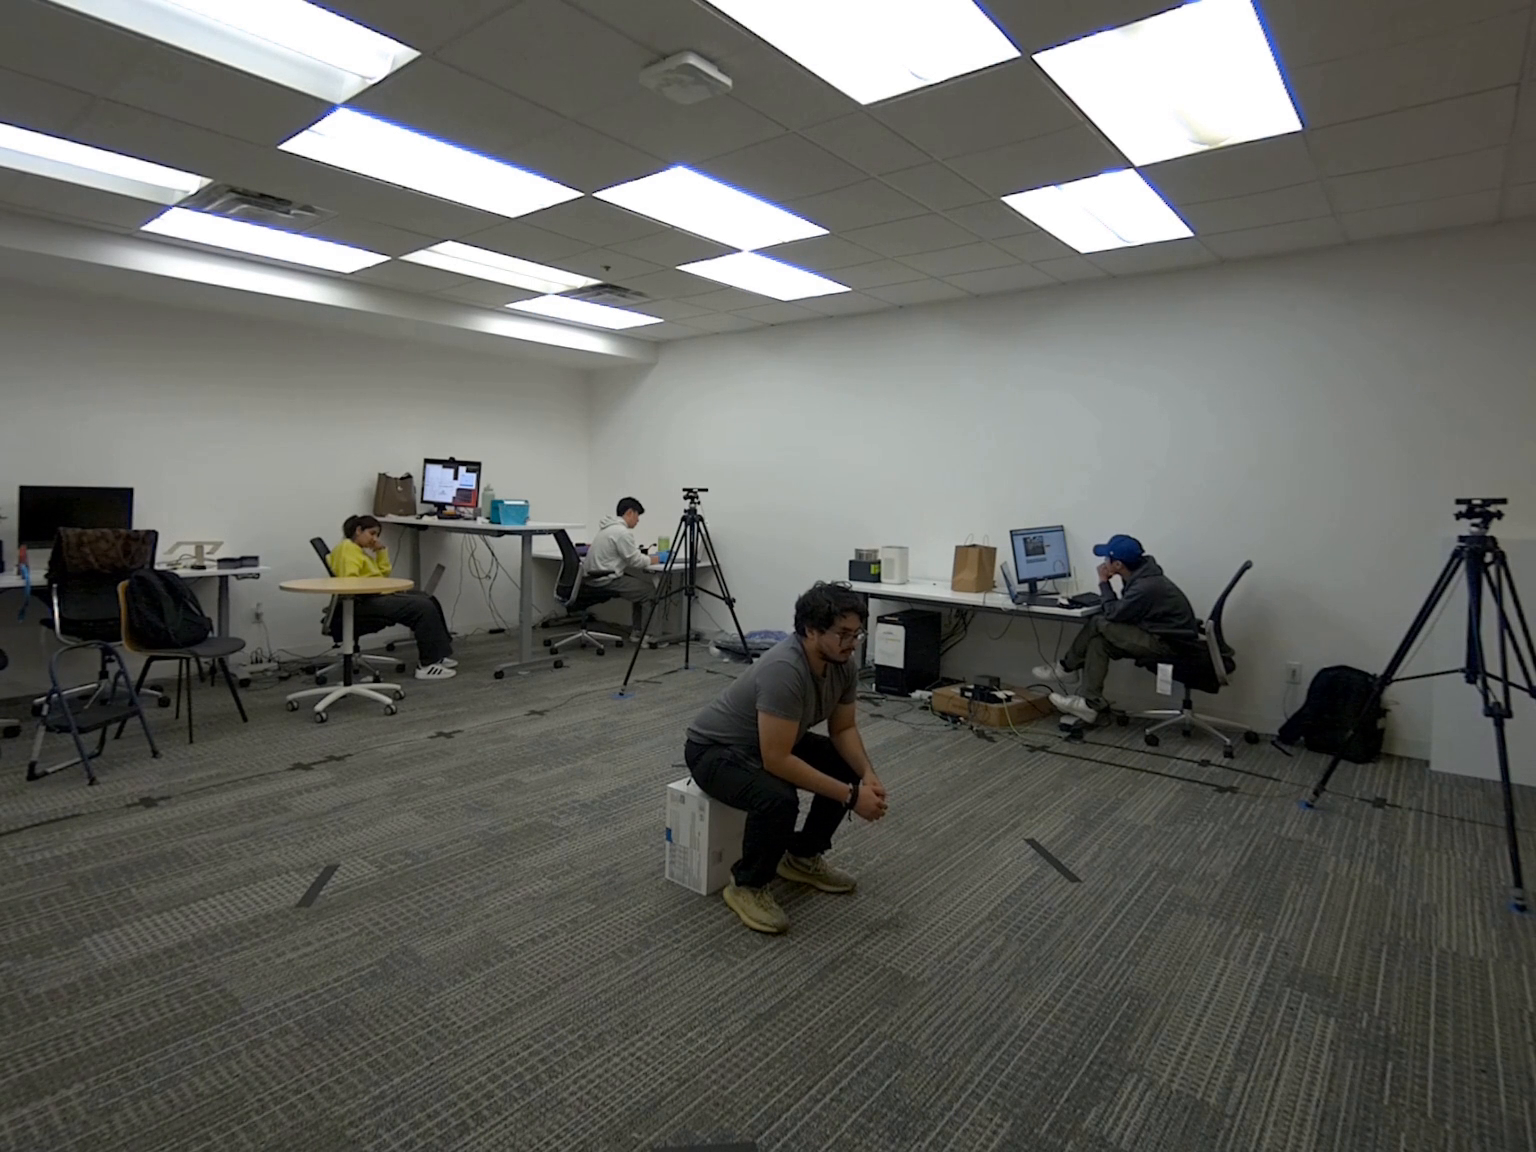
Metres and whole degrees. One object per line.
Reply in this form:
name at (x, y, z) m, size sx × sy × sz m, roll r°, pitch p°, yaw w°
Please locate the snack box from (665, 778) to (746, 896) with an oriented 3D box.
snack box at (-0.172, 0.903, 3.109) m, size 0.212 × 0.339 × 0.393 m, roll 5°, pitch 6°, yaw 39°
